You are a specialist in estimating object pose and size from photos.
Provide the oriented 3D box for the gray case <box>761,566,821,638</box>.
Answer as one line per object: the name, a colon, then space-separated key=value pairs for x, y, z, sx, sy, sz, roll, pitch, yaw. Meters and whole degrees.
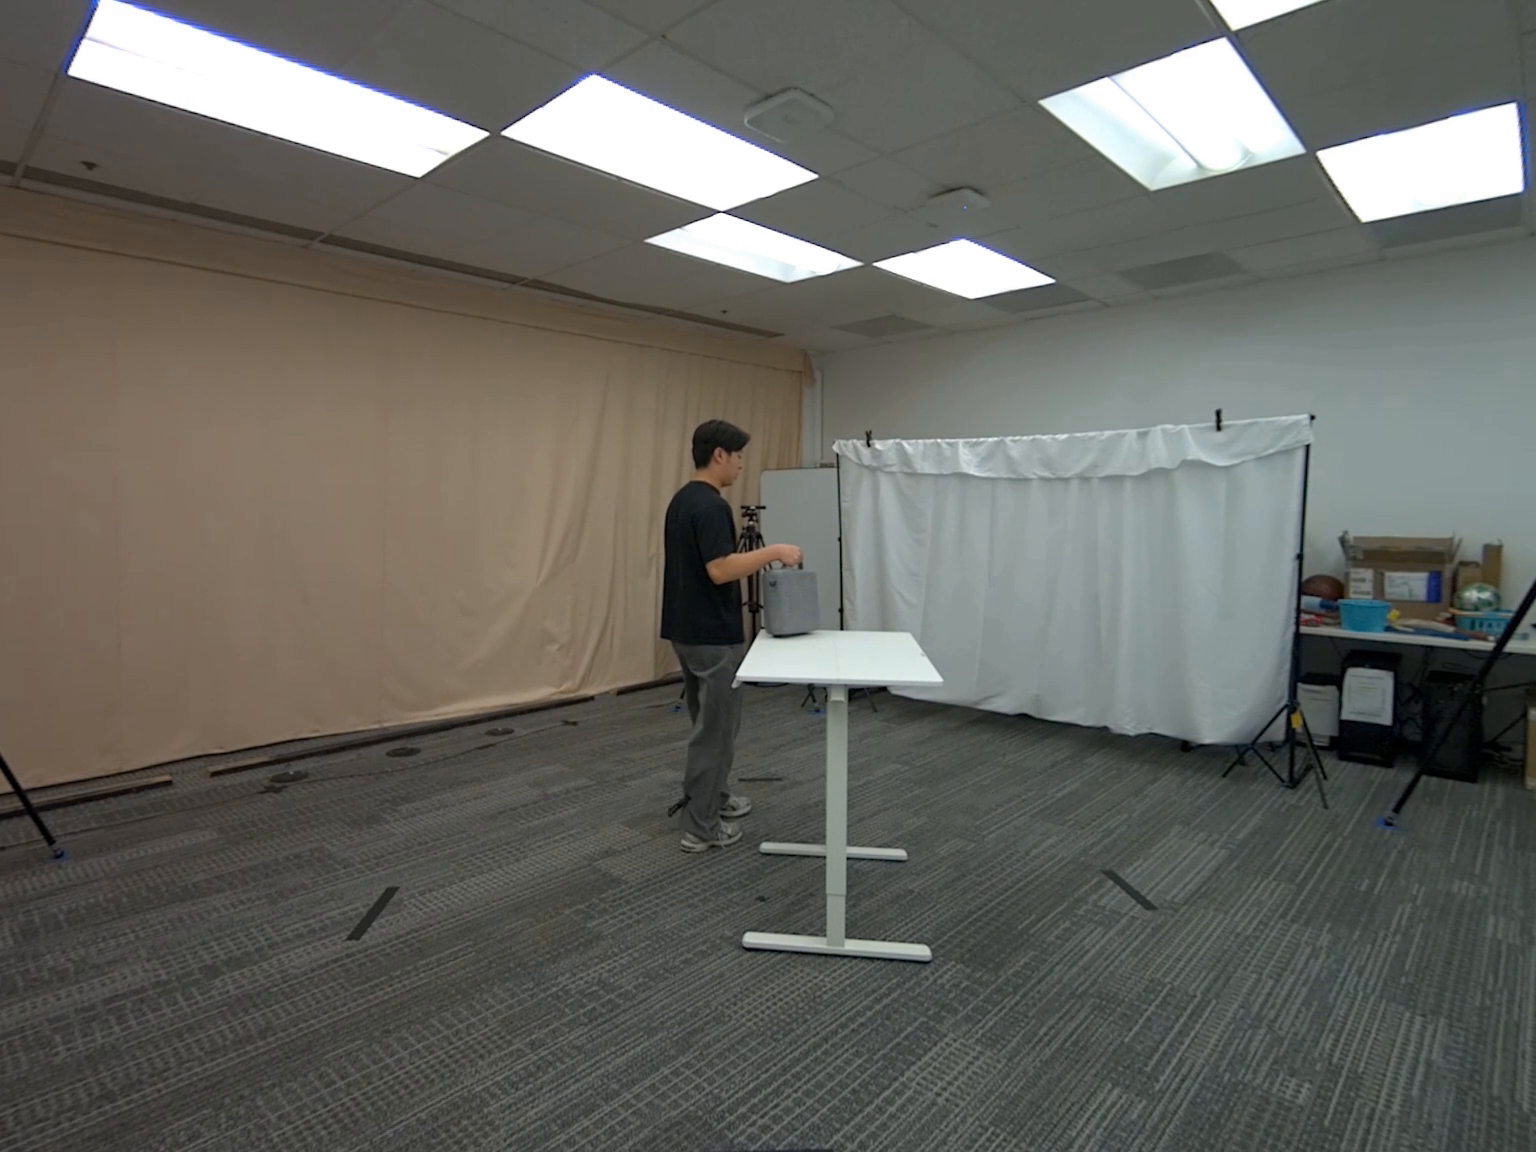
gray case: x=0.096 y=0.089 z=3.312 sx=0.106 sy=0.288 sz=0.255 roll=-5 pitch=-4 yaw=42
